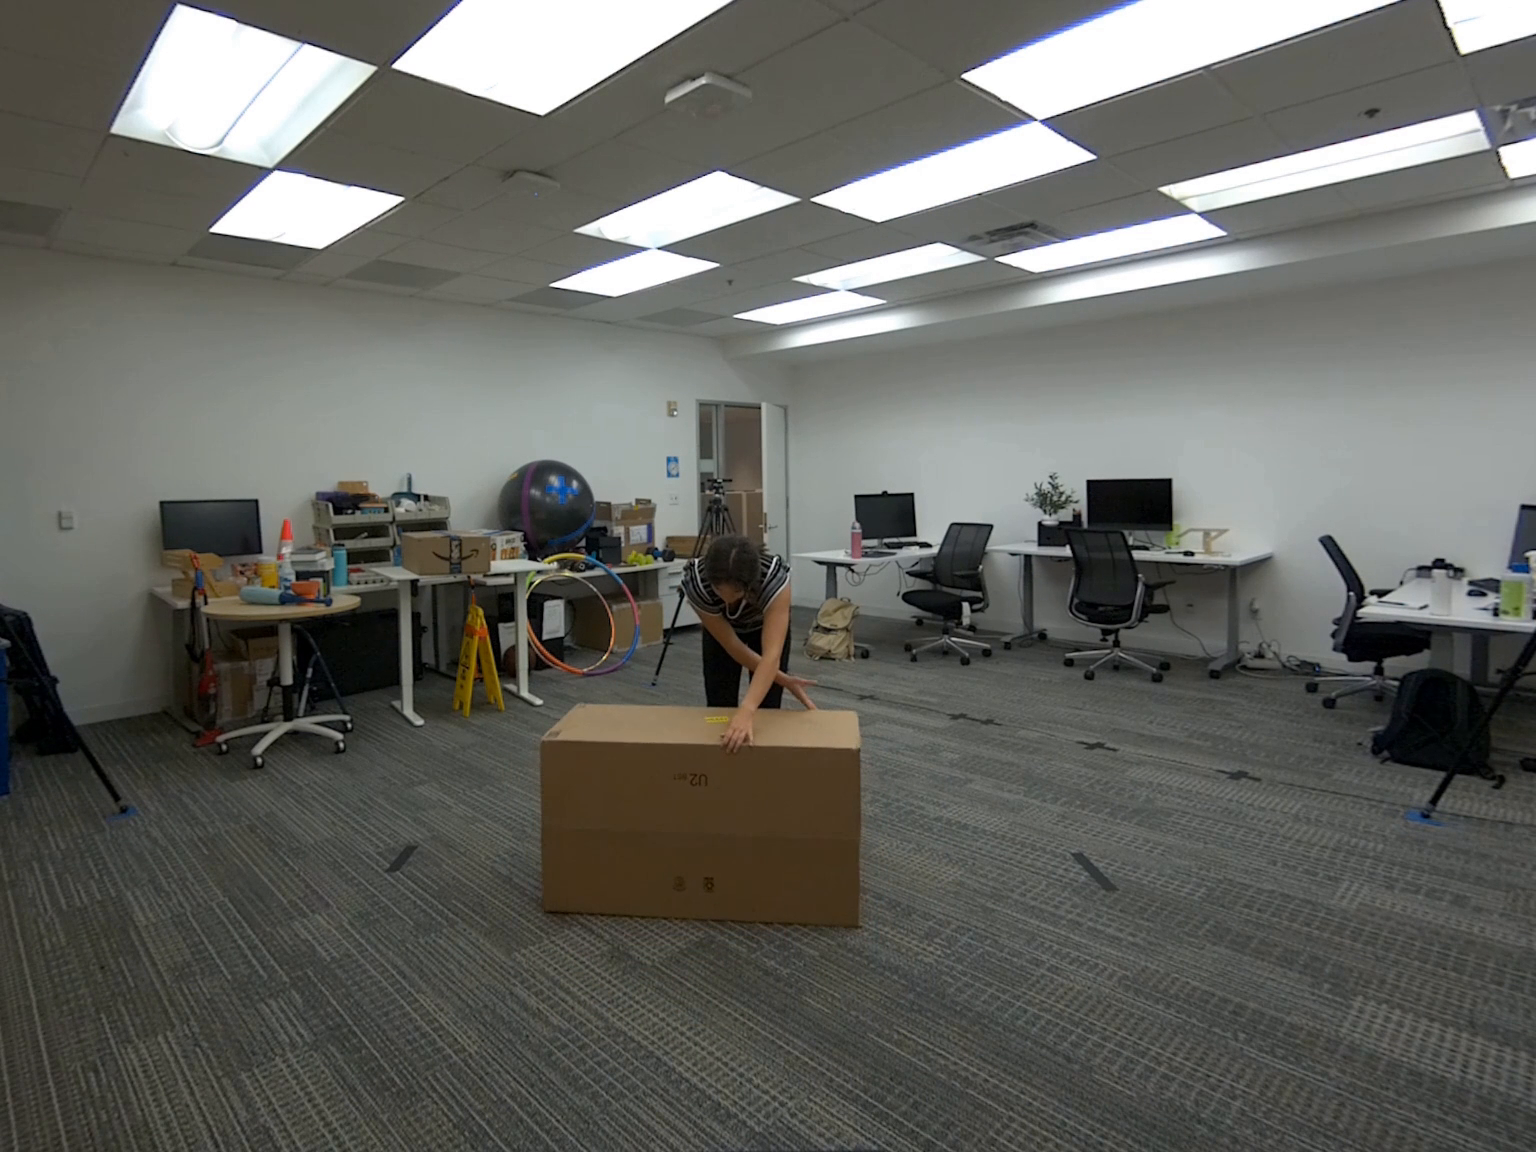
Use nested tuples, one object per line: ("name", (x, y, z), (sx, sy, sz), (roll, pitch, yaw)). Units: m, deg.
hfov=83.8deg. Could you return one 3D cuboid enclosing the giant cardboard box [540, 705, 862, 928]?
("giant cardboard box", (-0.210, 0.777, 2.892), (1.032, 0.575, 0.425), (0, 4, 6))
